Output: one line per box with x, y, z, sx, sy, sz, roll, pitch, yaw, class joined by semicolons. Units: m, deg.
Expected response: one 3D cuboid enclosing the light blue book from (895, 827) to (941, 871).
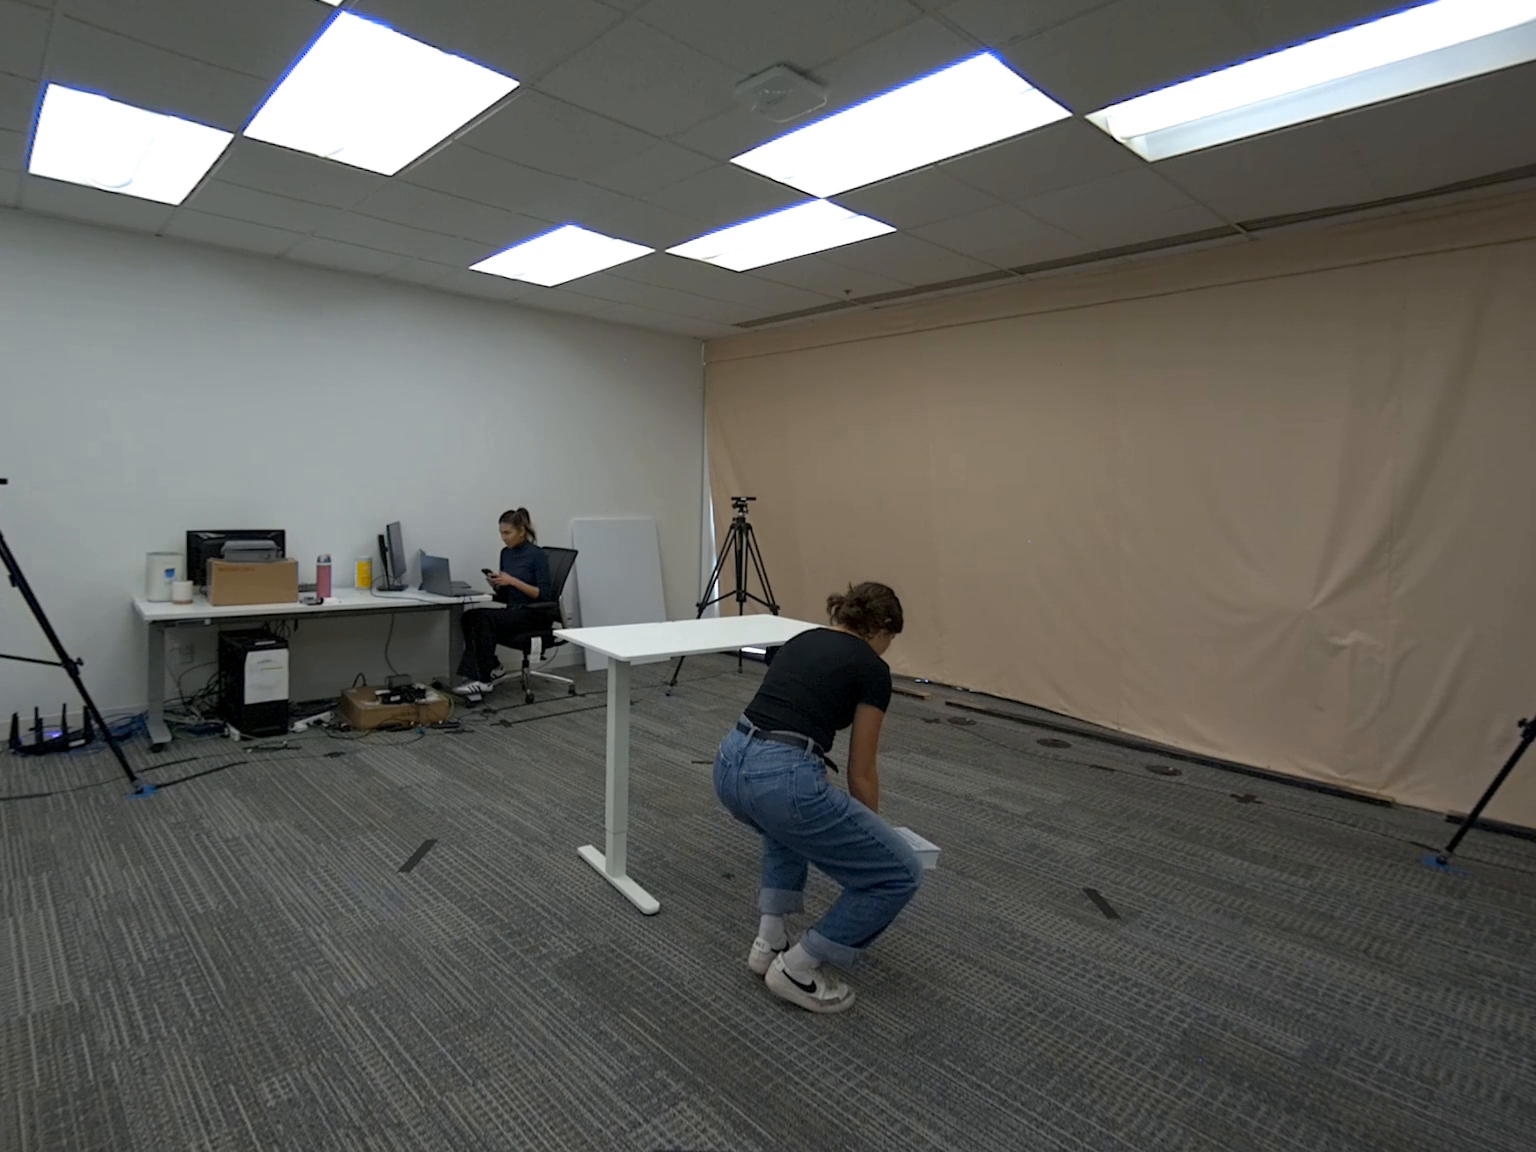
0.365;0.839;2.582;0.255;0.059;0.196;7;3;-29;light blue book
